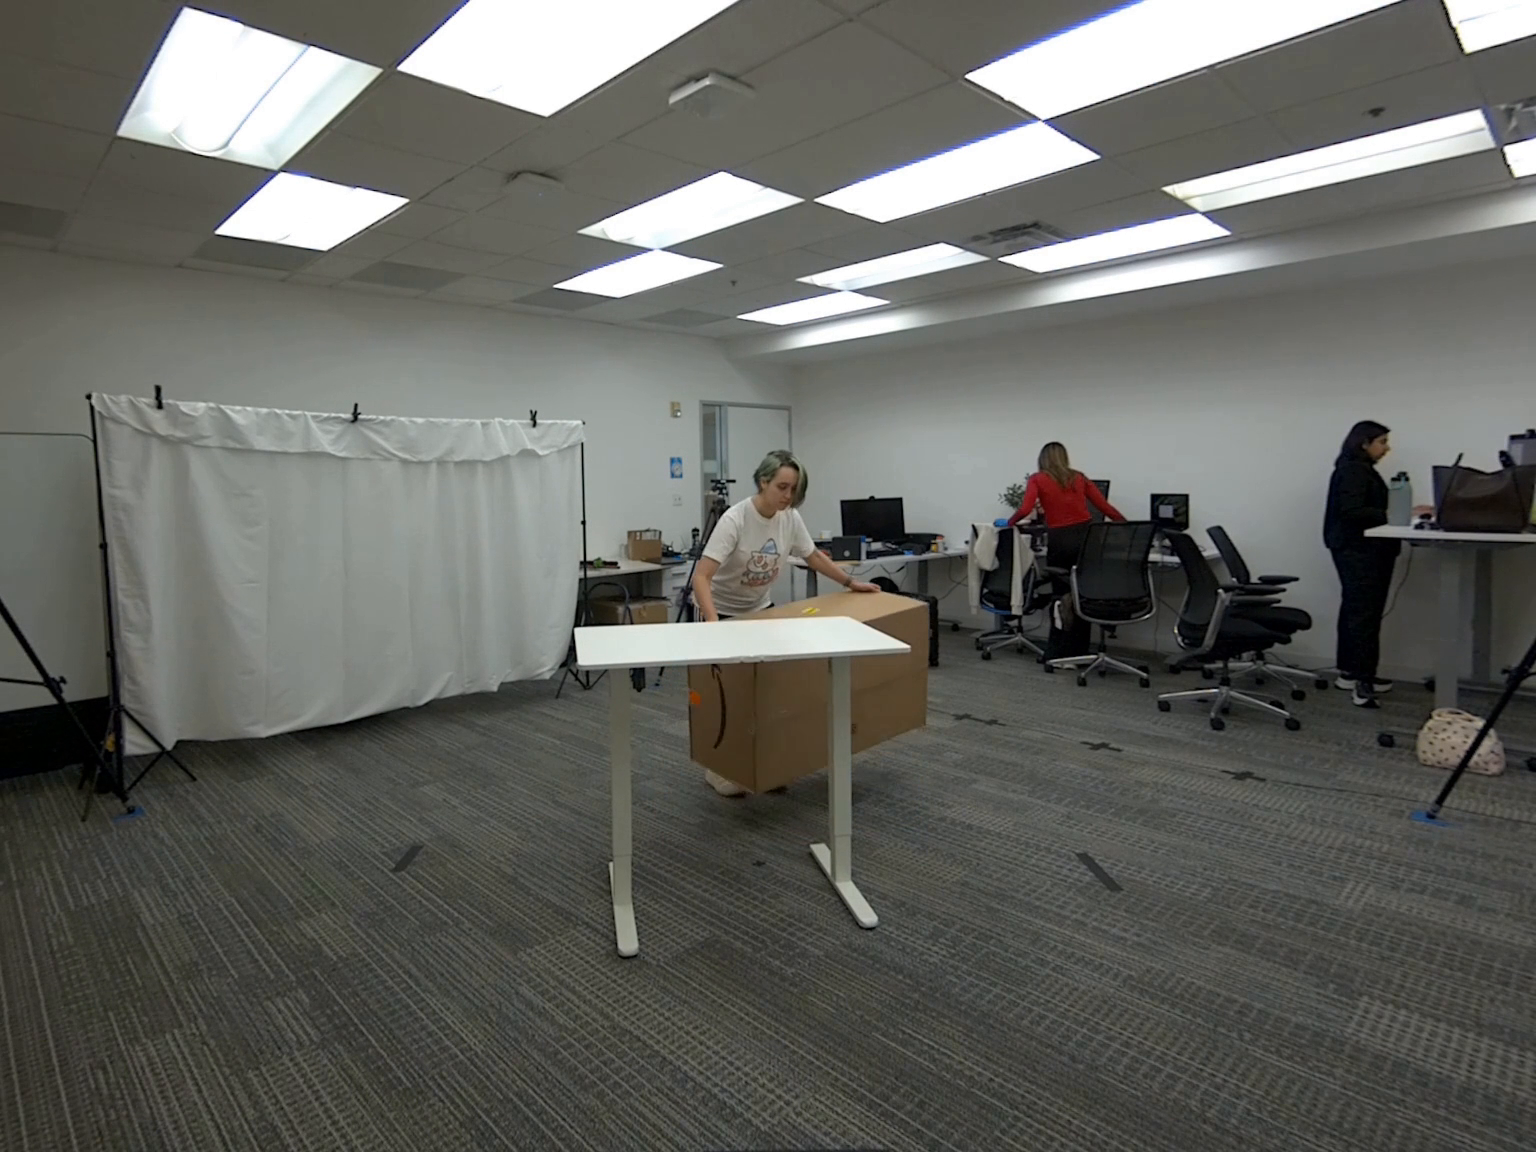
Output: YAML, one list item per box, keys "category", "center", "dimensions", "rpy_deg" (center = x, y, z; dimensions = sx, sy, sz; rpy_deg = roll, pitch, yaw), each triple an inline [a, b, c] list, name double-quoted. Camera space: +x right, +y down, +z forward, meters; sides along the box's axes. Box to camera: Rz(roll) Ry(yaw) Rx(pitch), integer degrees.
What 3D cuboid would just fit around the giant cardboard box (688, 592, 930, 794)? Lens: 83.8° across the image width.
- category: "giant cardboard box"
  center: [0.193, 0.451, 3.682]
  dimensions: [1.003, 0.578, 0.462]
  rpy_deg: [-11, 14, -38]
